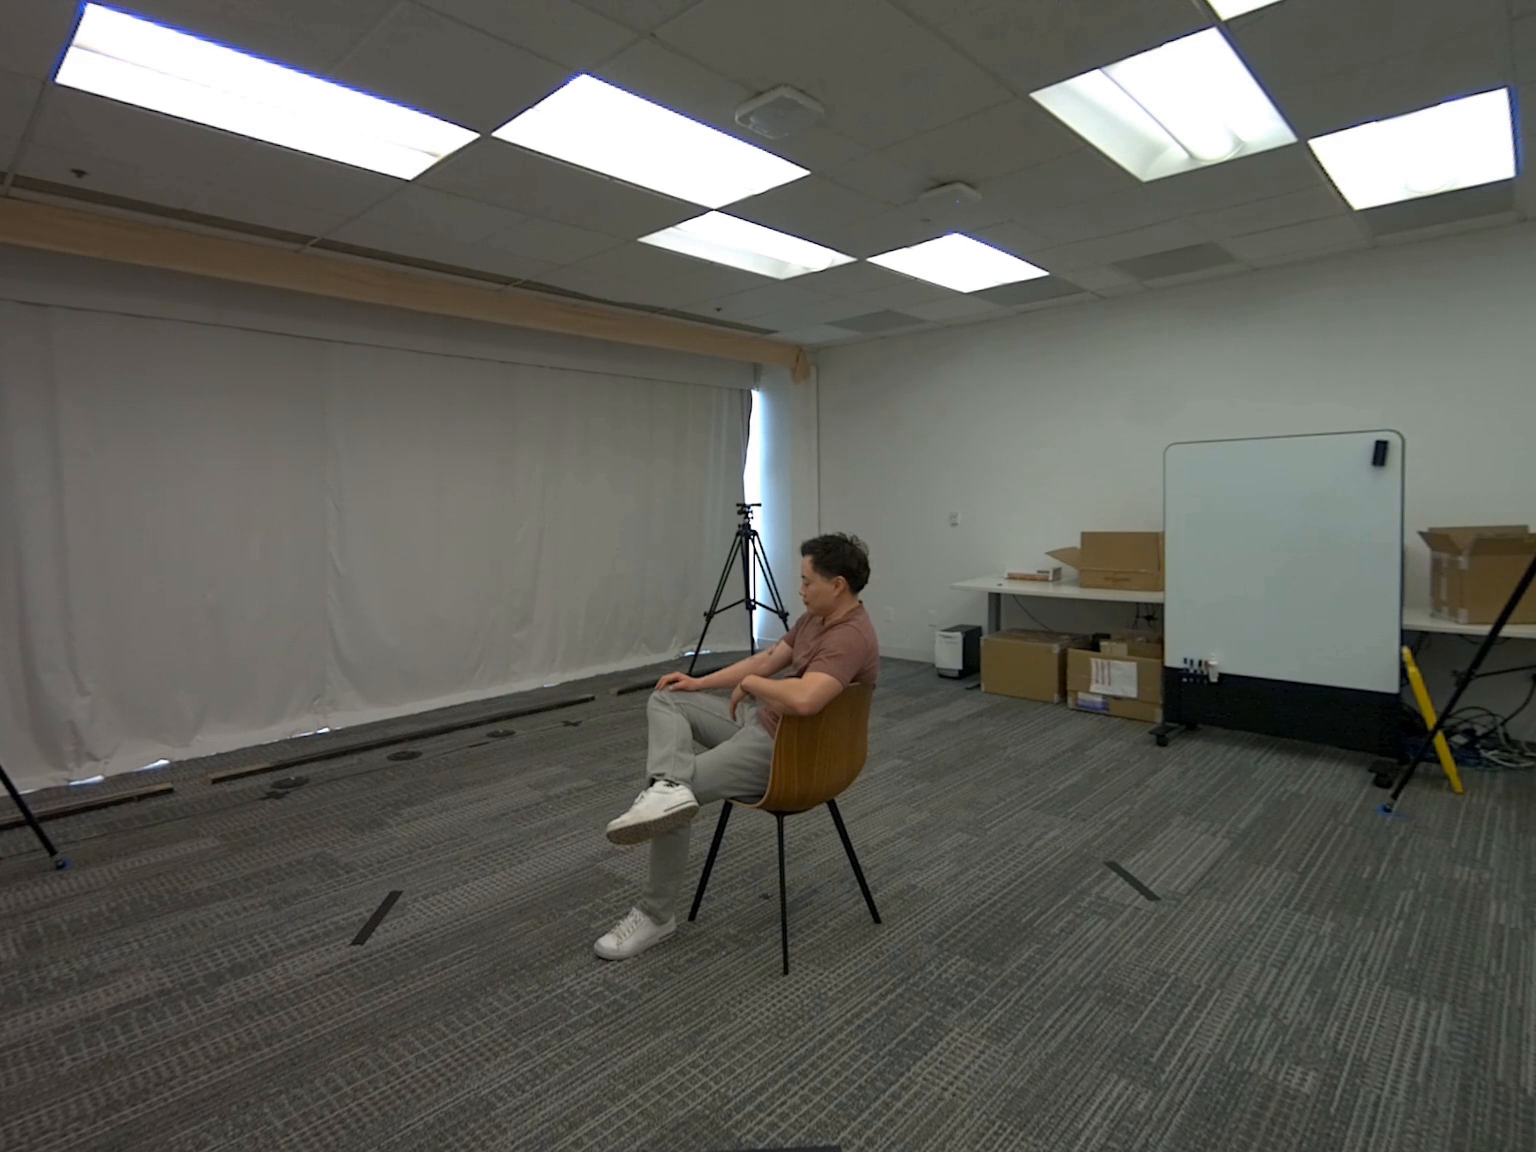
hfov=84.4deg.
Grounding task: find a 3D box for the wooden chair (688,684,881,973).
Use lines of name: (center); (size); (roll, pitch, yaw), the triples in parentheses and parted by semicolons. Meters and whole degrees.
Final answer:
wooden chair: (0.046, 0.727, 2.778); (0.463, 0.874, 0.541); (-4, 9, -43)
